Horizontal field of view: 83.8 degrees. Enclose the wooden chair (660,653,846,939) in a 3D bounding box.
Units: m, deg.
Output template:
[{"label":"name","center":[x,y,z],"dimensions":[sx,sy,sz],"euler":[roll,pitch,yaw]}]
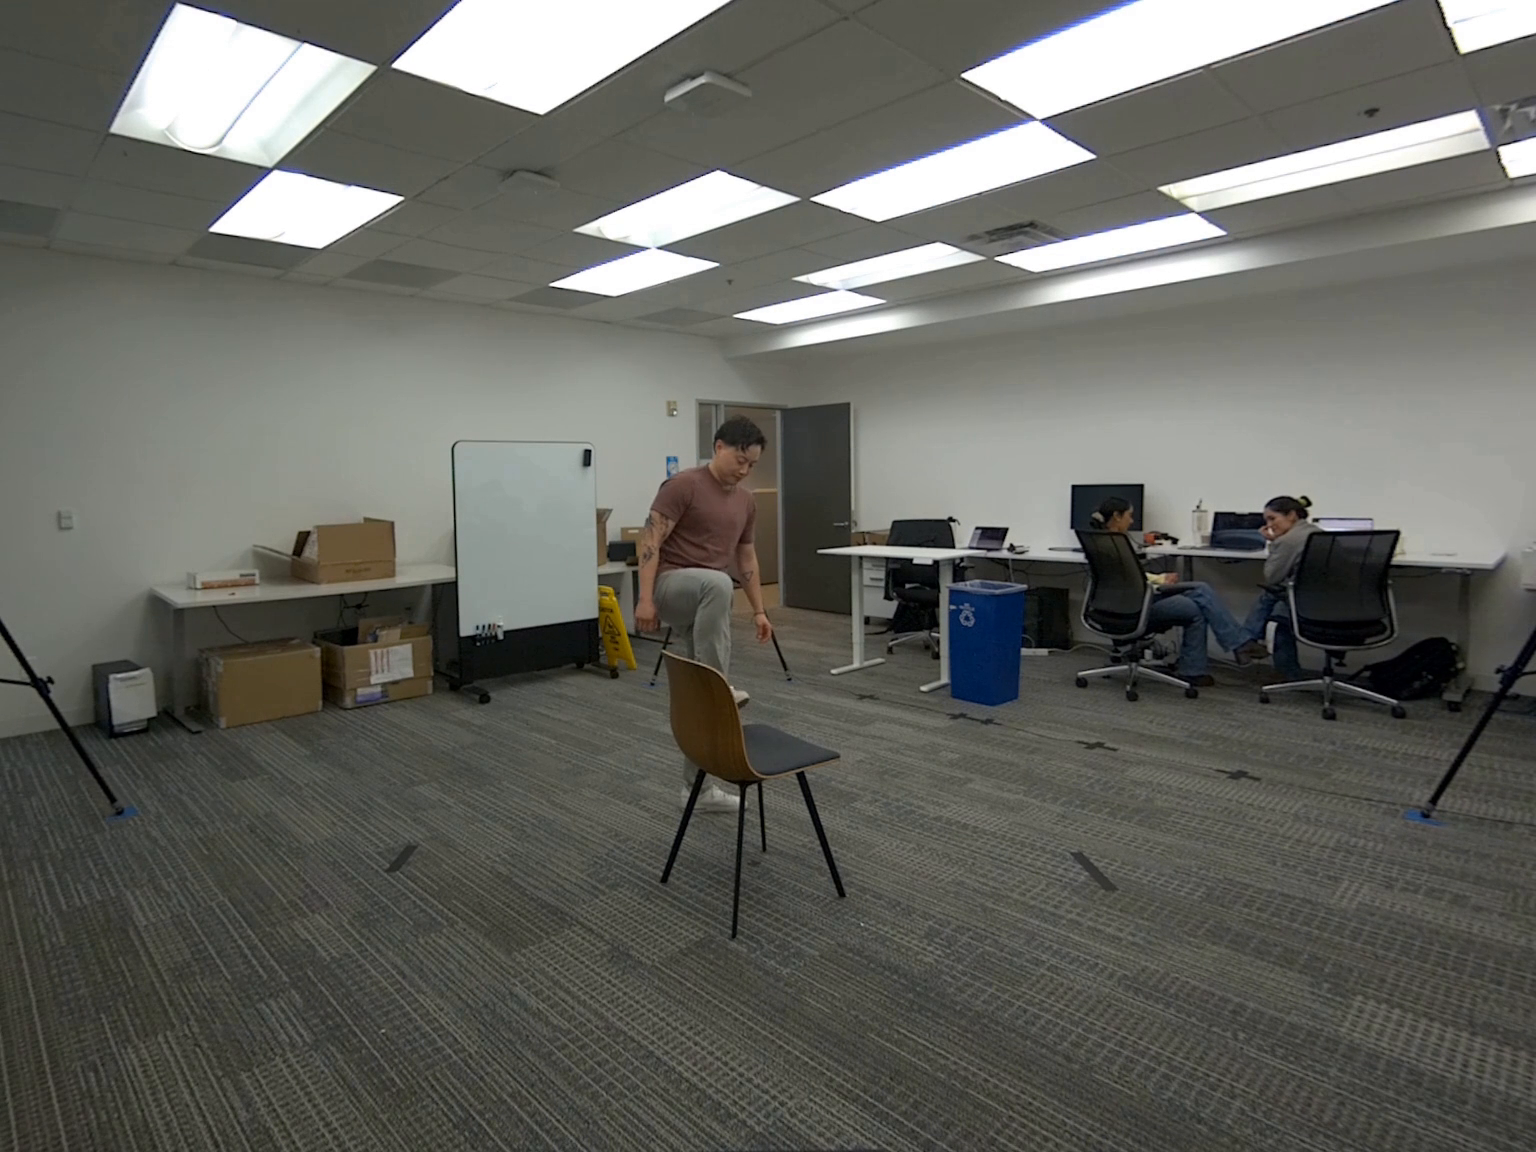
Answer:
[{"label":"wooden chair","center":[-0.056,0.645,2.874],"dimensions":[0.511,0.872,0.492],"euler":[-9,8,-35]}]
